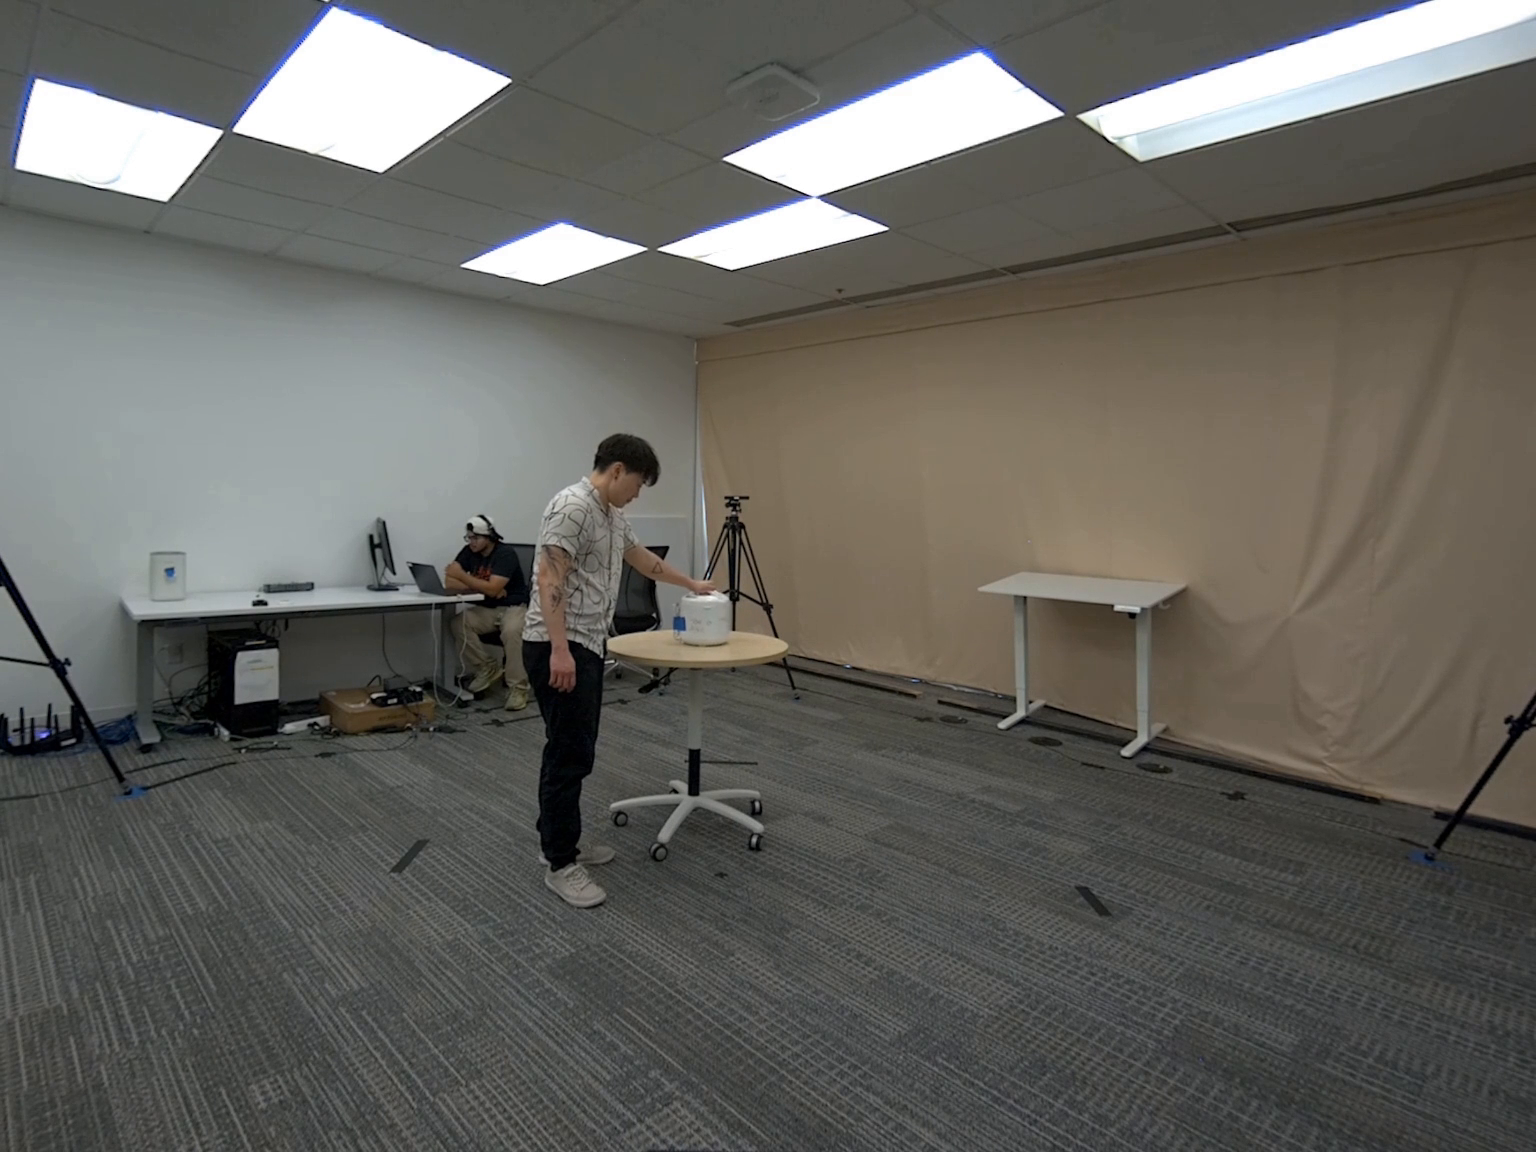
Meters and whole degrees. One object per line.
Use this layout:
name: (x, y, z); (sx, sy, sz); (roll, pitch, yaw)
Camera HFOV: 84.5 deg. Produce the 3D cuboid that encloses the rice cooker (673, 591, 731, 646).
rice cooker: (-0.269, 0.165, 3.529); (0.226, 0.232, 0.213); (5, 7, 43)
